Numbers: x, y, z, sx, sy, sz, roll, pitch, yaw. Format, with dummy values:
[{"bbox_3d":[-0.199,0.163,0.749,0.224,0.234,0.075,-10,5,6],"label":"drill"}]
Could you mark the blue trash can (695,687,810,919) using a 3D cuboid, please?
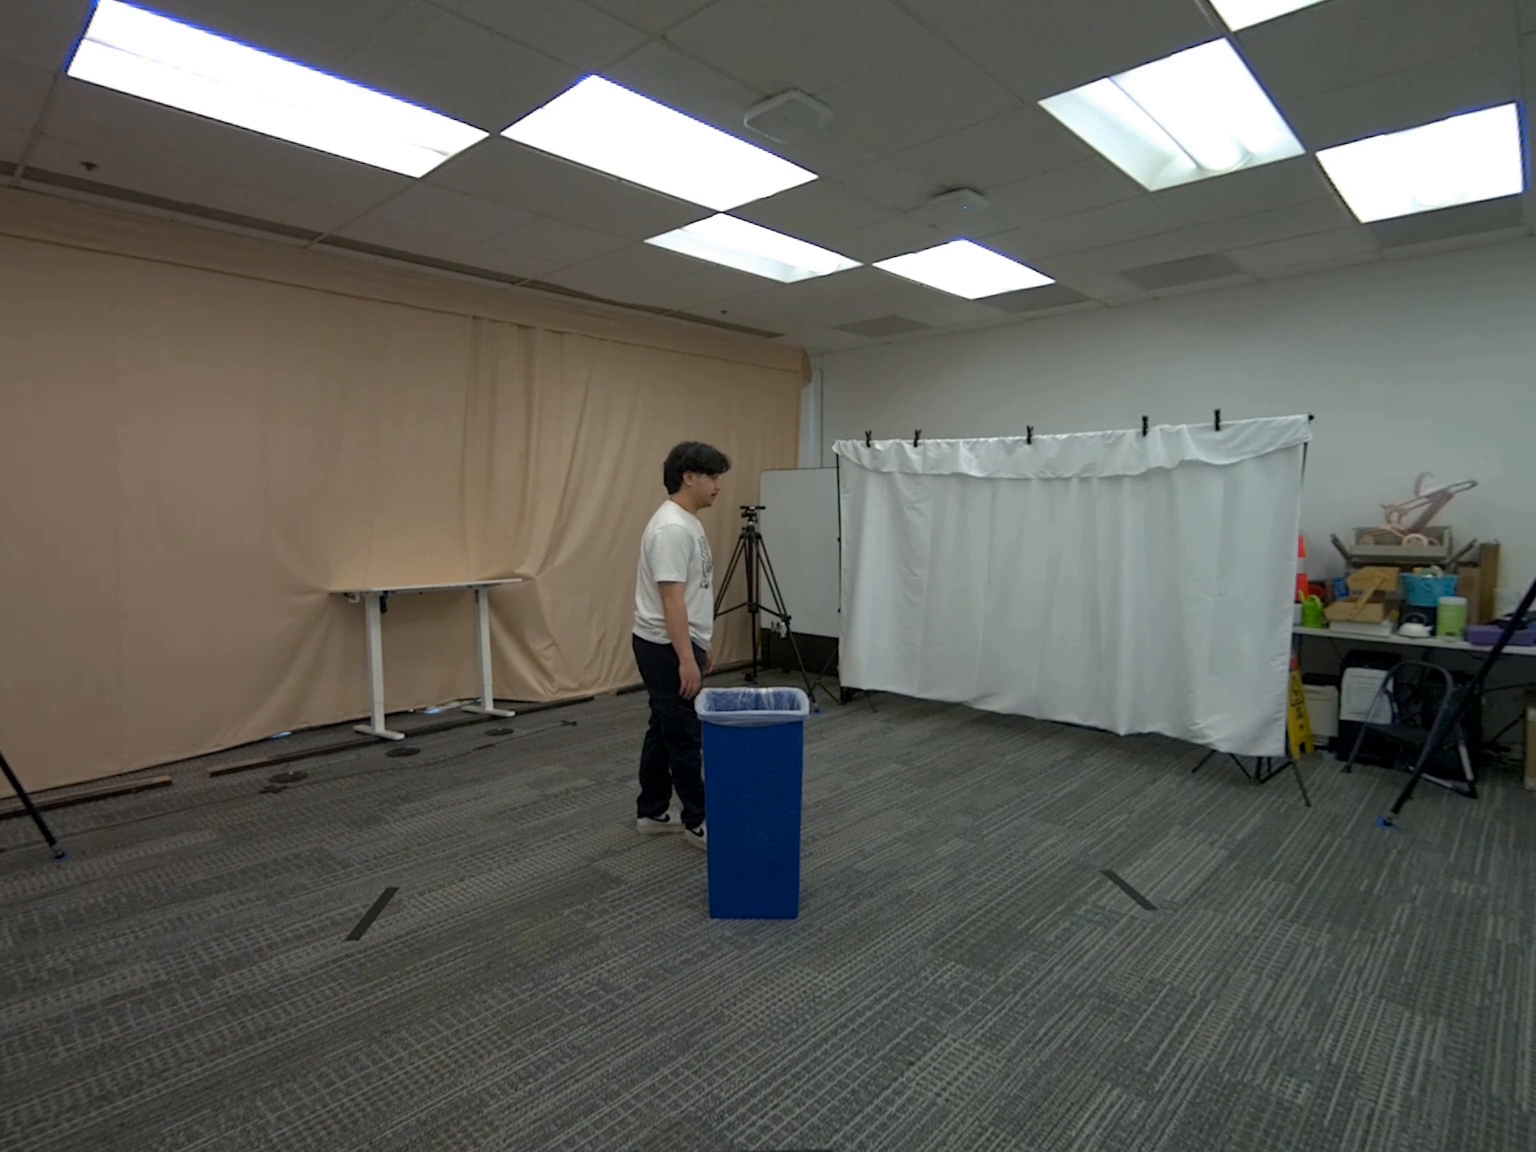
[{"bbox_3d":[-0.049,0.790,2.960,0.378,0.712,0.374,-1,3,0],"label":"blue trash can"}]
